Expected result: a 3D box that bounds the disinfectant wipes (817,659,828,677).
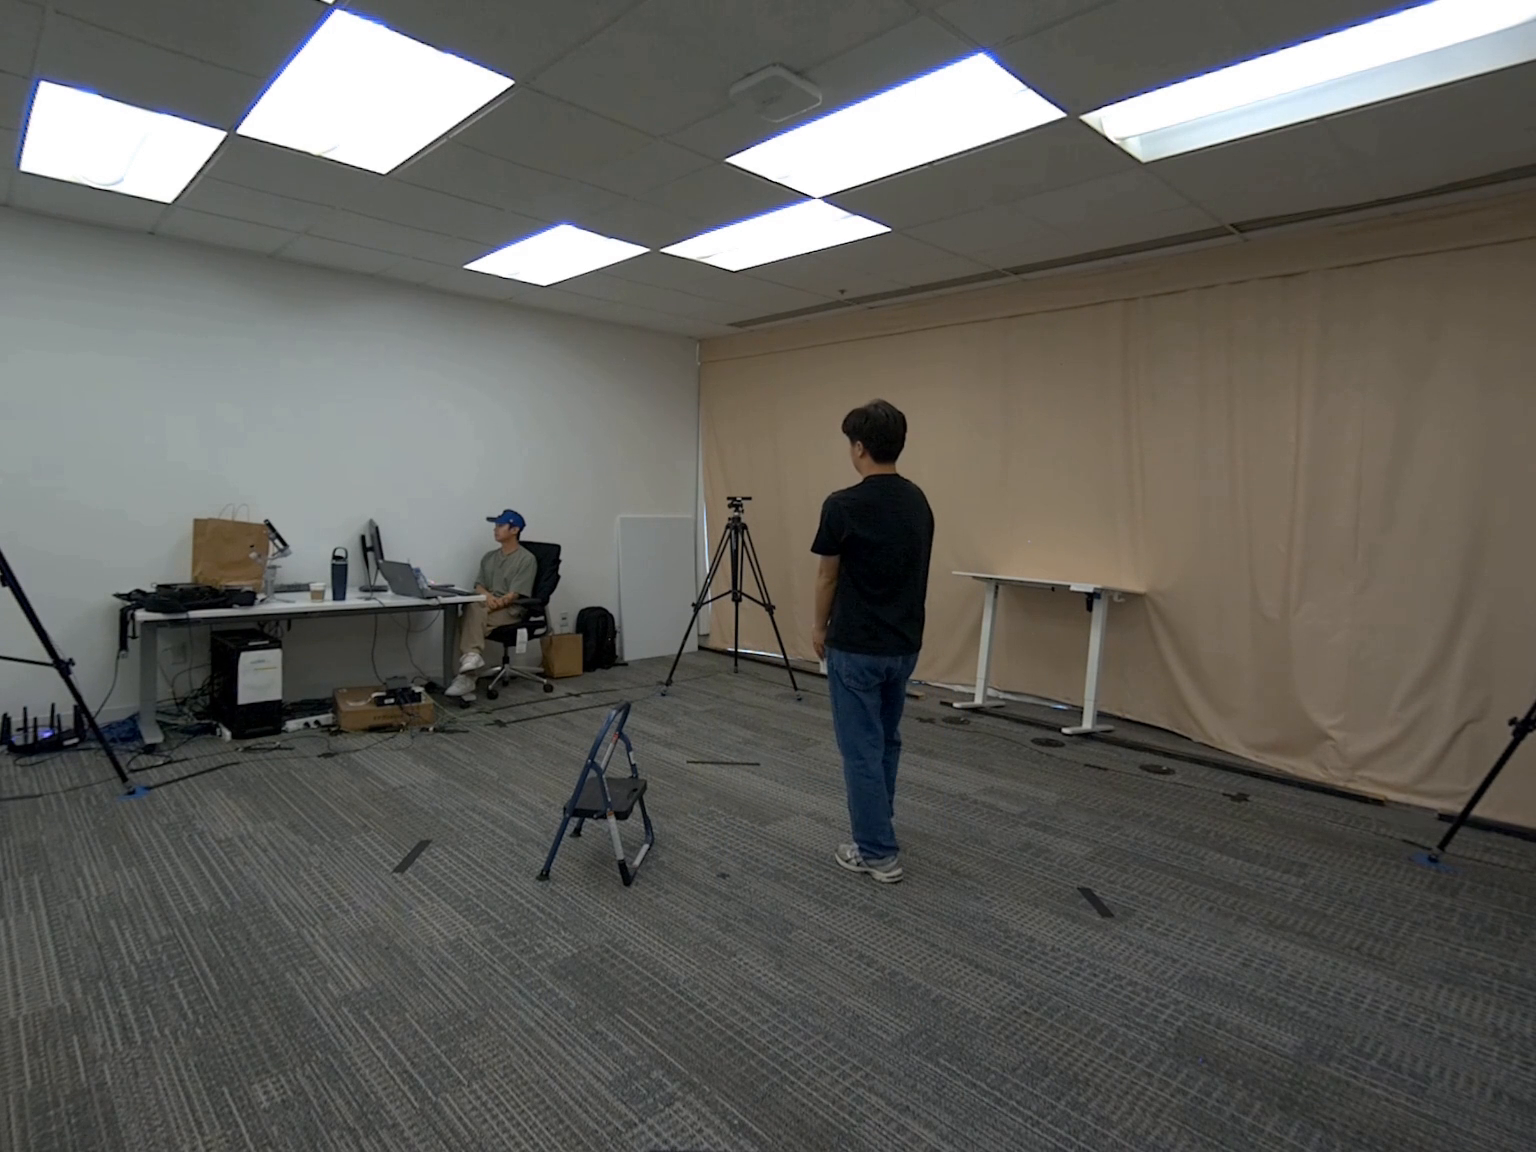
[{"bbox_3d":[0.261,0.286,3.375,0.118,0.216,0.118,-7,7,0],"label":"disinfectant wipes"}]
